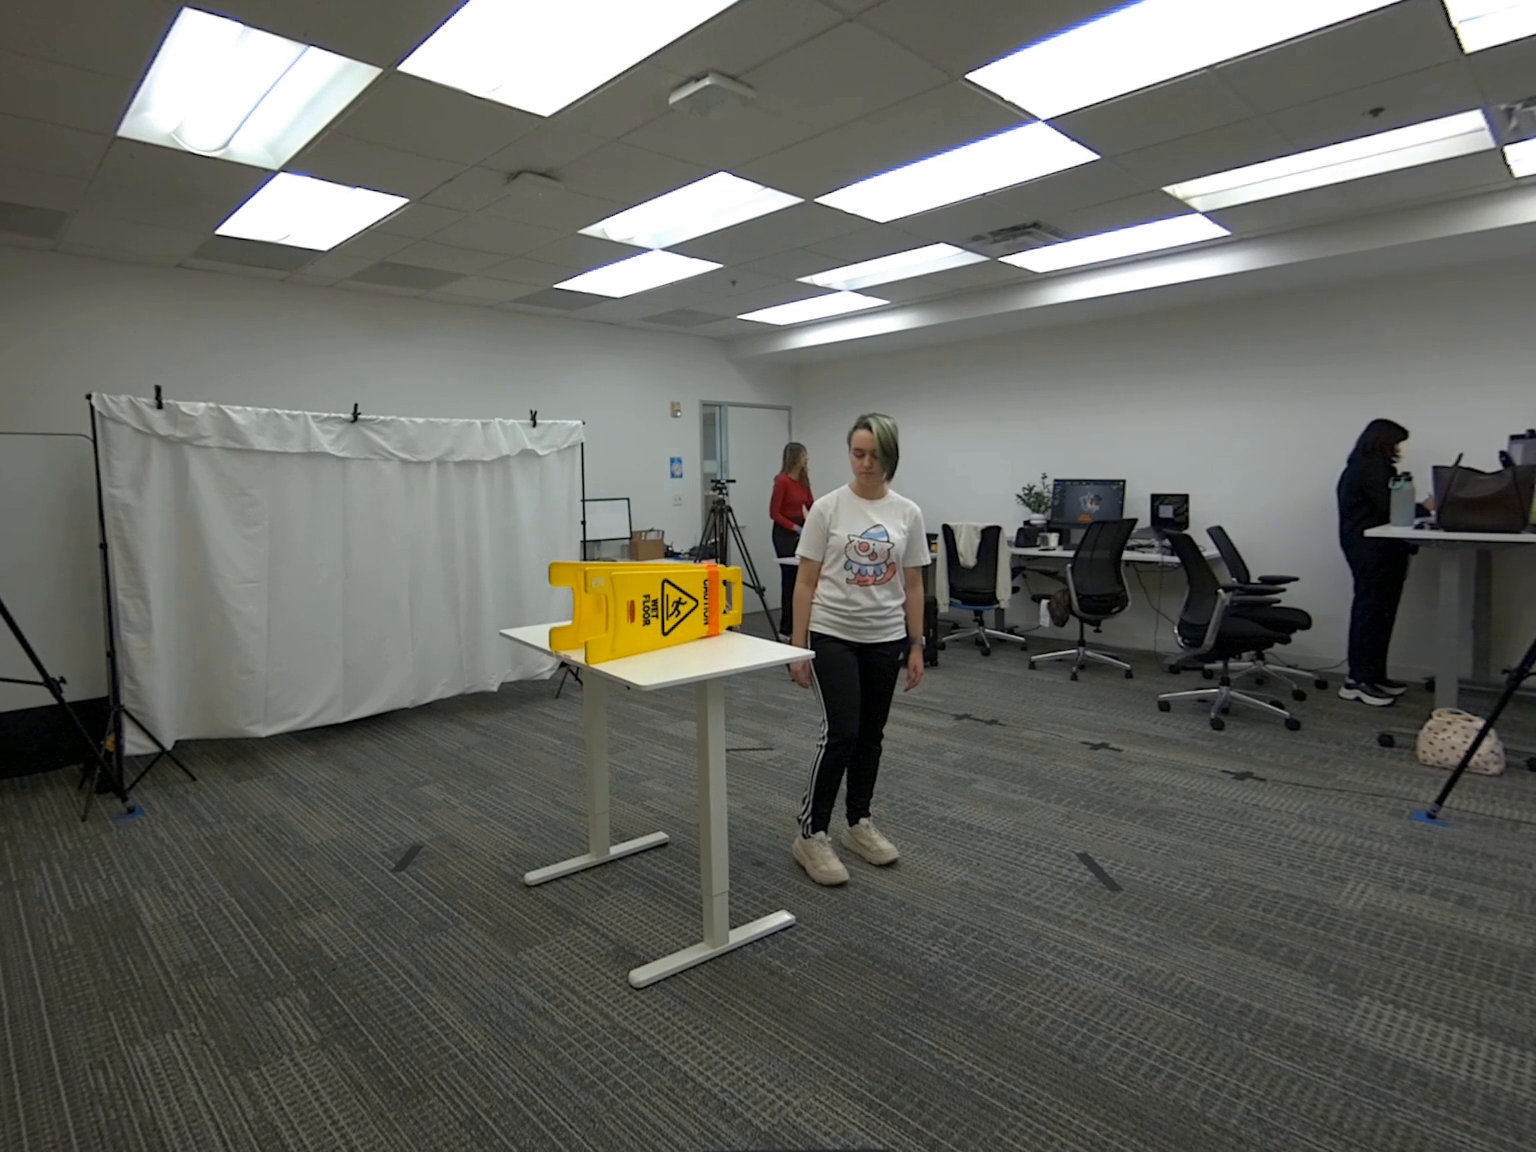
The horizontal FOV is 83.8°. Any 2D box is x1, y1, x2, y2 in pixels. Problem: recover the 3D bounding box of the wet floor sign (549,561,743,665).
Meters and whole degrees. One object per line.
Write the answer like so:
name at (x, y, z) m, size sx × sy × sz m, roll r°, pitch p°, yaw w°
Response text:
wet floor sign at (-0.343, 0.088, 2.724) m, size 0.629 × 0.281 × 0.298 m, roll -4°, pitch 6°, yaw -37°
